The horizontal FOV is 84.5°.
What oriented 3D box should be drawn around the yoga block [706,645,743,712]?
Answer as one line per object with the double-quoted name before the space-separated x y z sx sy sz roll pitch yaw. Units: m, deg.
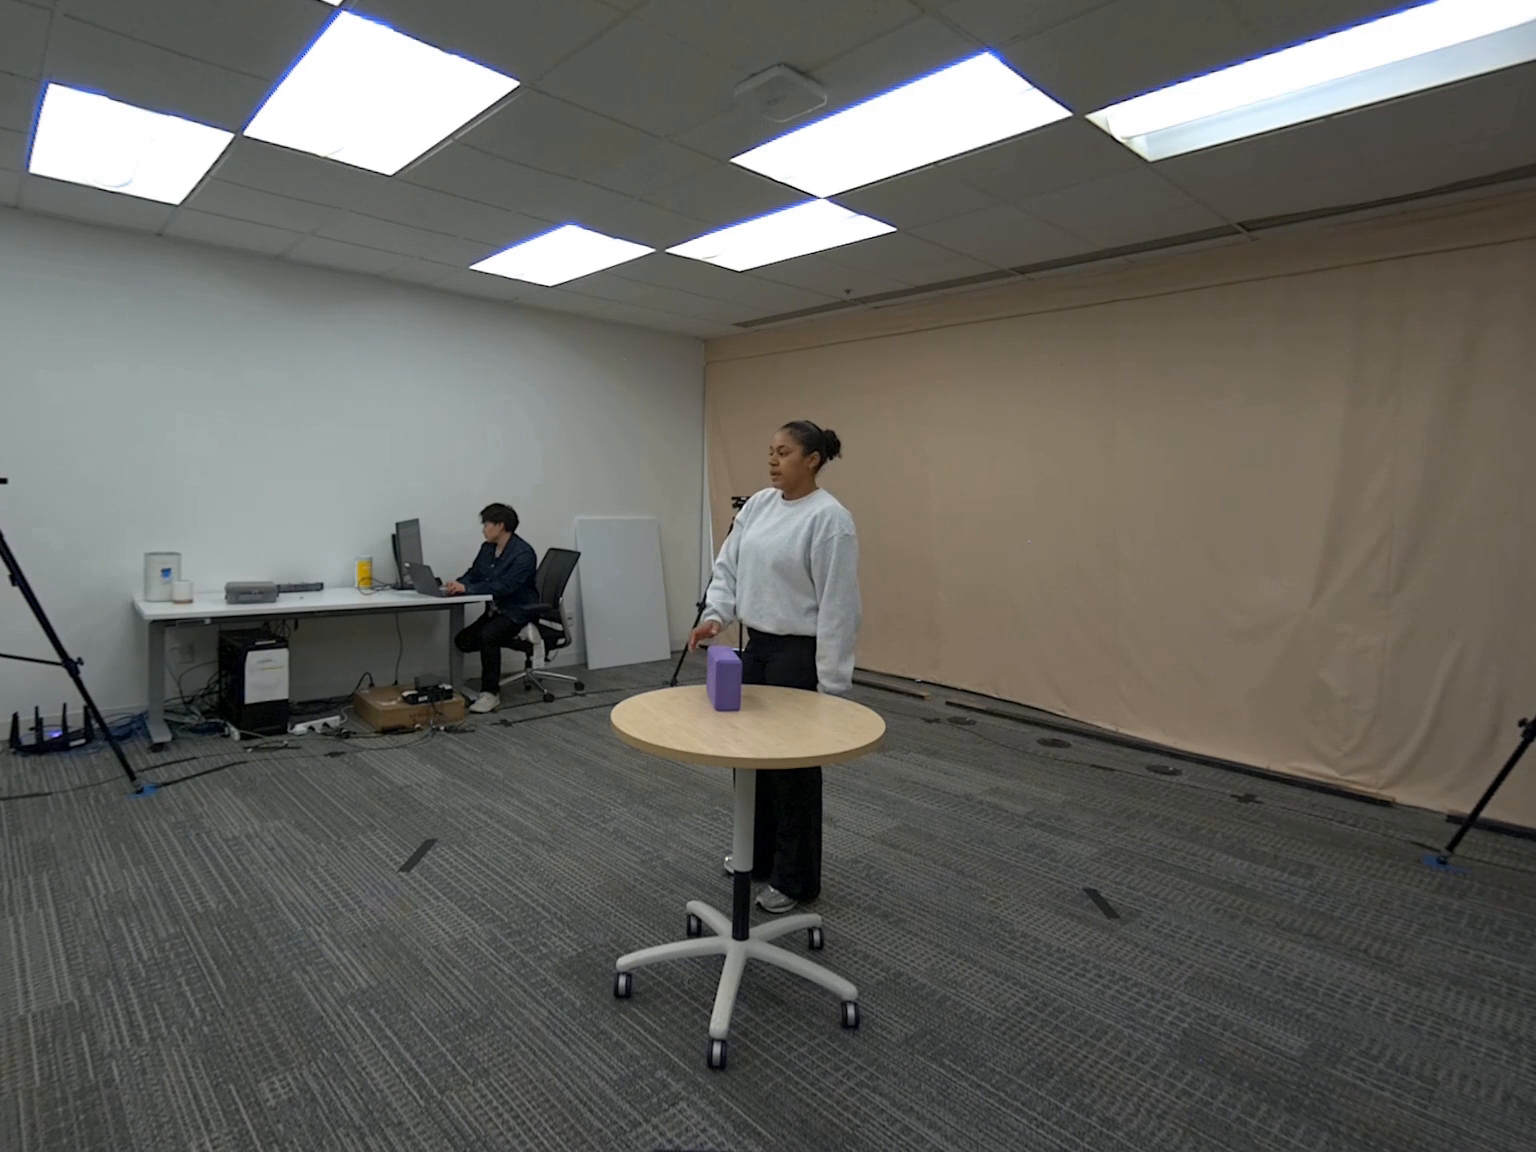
"yoga block" -0.142 0.305 2.501 0.076 0.148 0.231 0 5 -9
